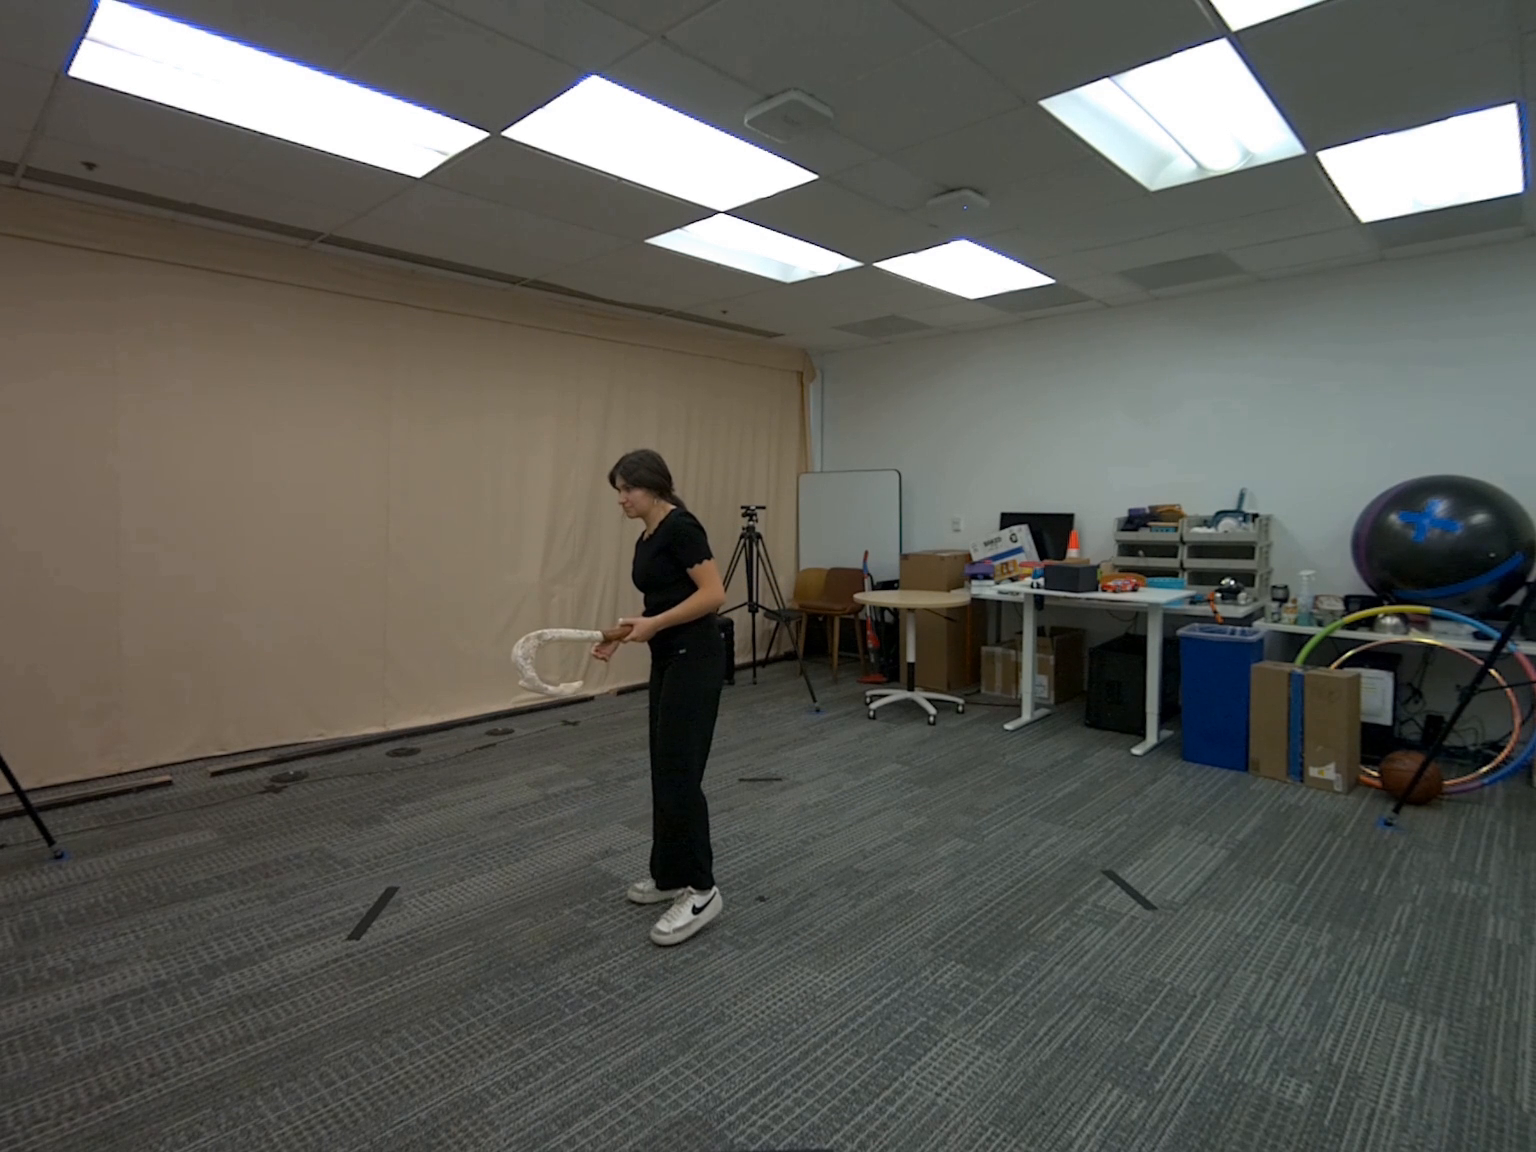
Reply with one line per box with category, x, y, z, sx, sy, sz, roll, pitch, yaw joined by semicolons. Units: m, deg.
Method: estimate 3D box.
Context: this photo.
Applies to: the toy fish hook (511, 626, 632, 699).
toy fish hook;-0.551;0.254;2.666;0.494;0.227;0.049;-12;-16;-33
